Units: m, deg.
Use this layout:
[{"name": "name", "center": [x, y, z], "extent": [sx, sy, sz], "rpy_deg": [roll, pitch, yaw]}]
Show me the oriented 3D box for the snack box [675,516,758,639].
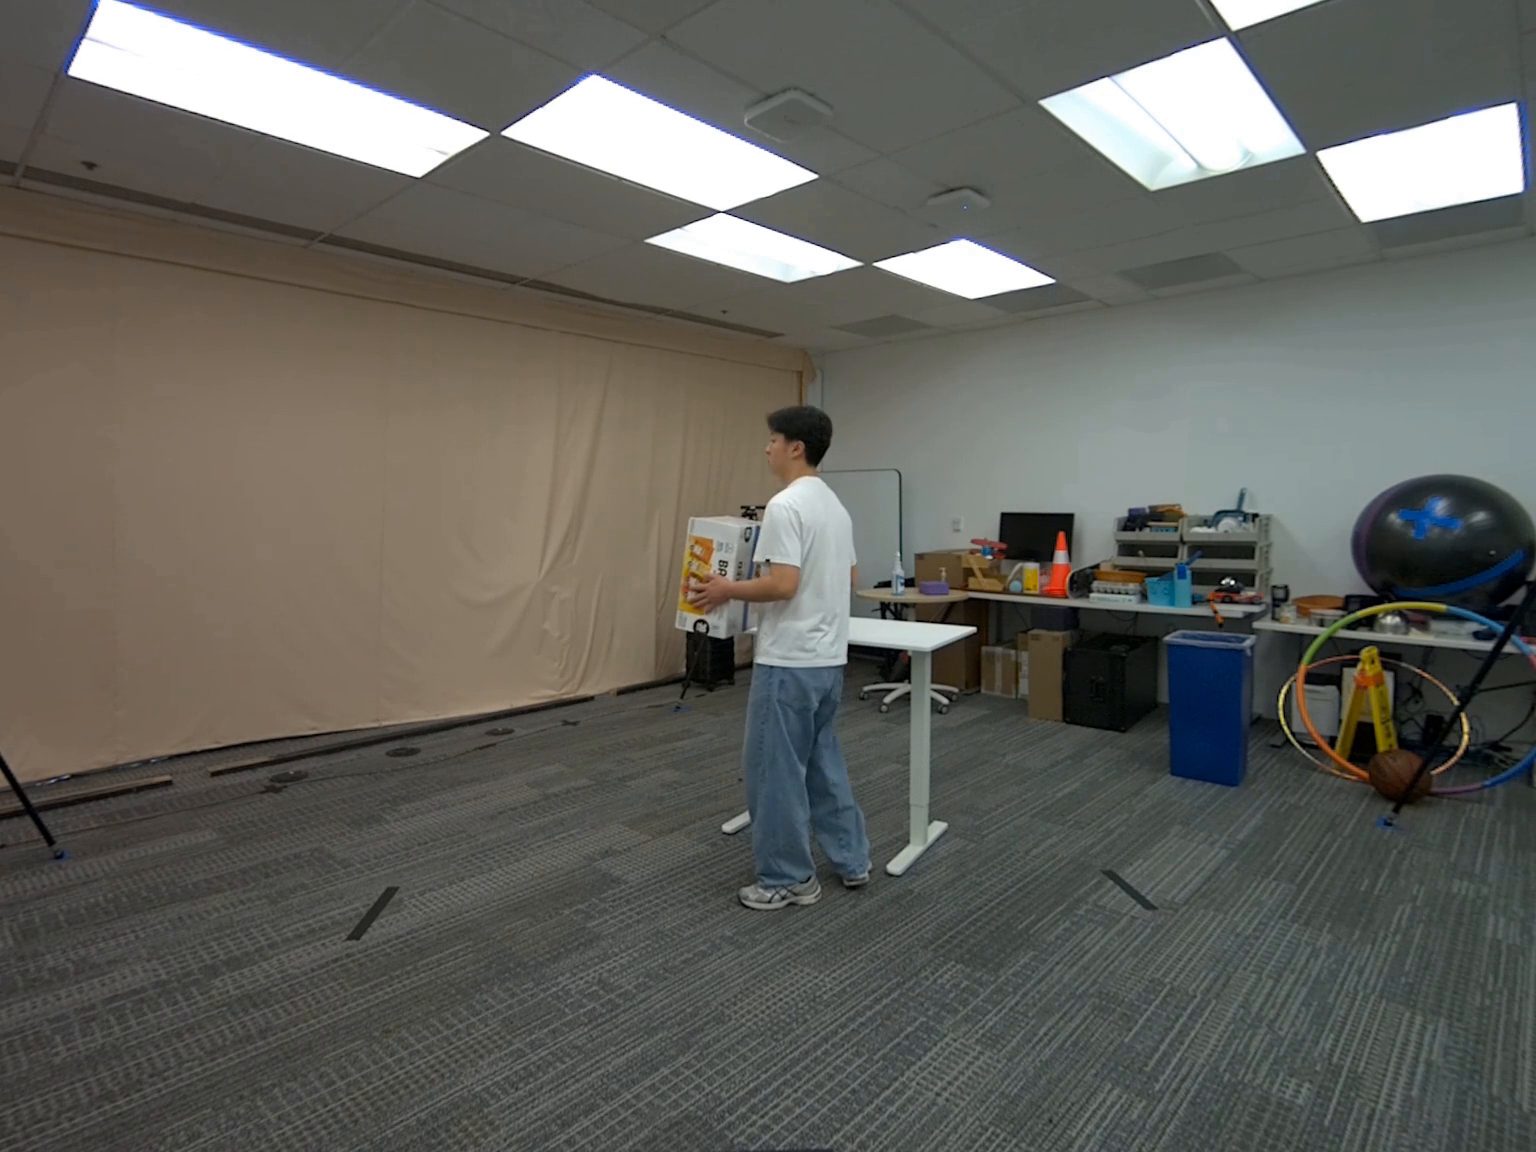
[{"name": "snack box", "center": [-0.151, -0.007, 3.133], "extent": [0.210, 0.404, 0.333], "rpy_deg": [9, 7, 20]}]
